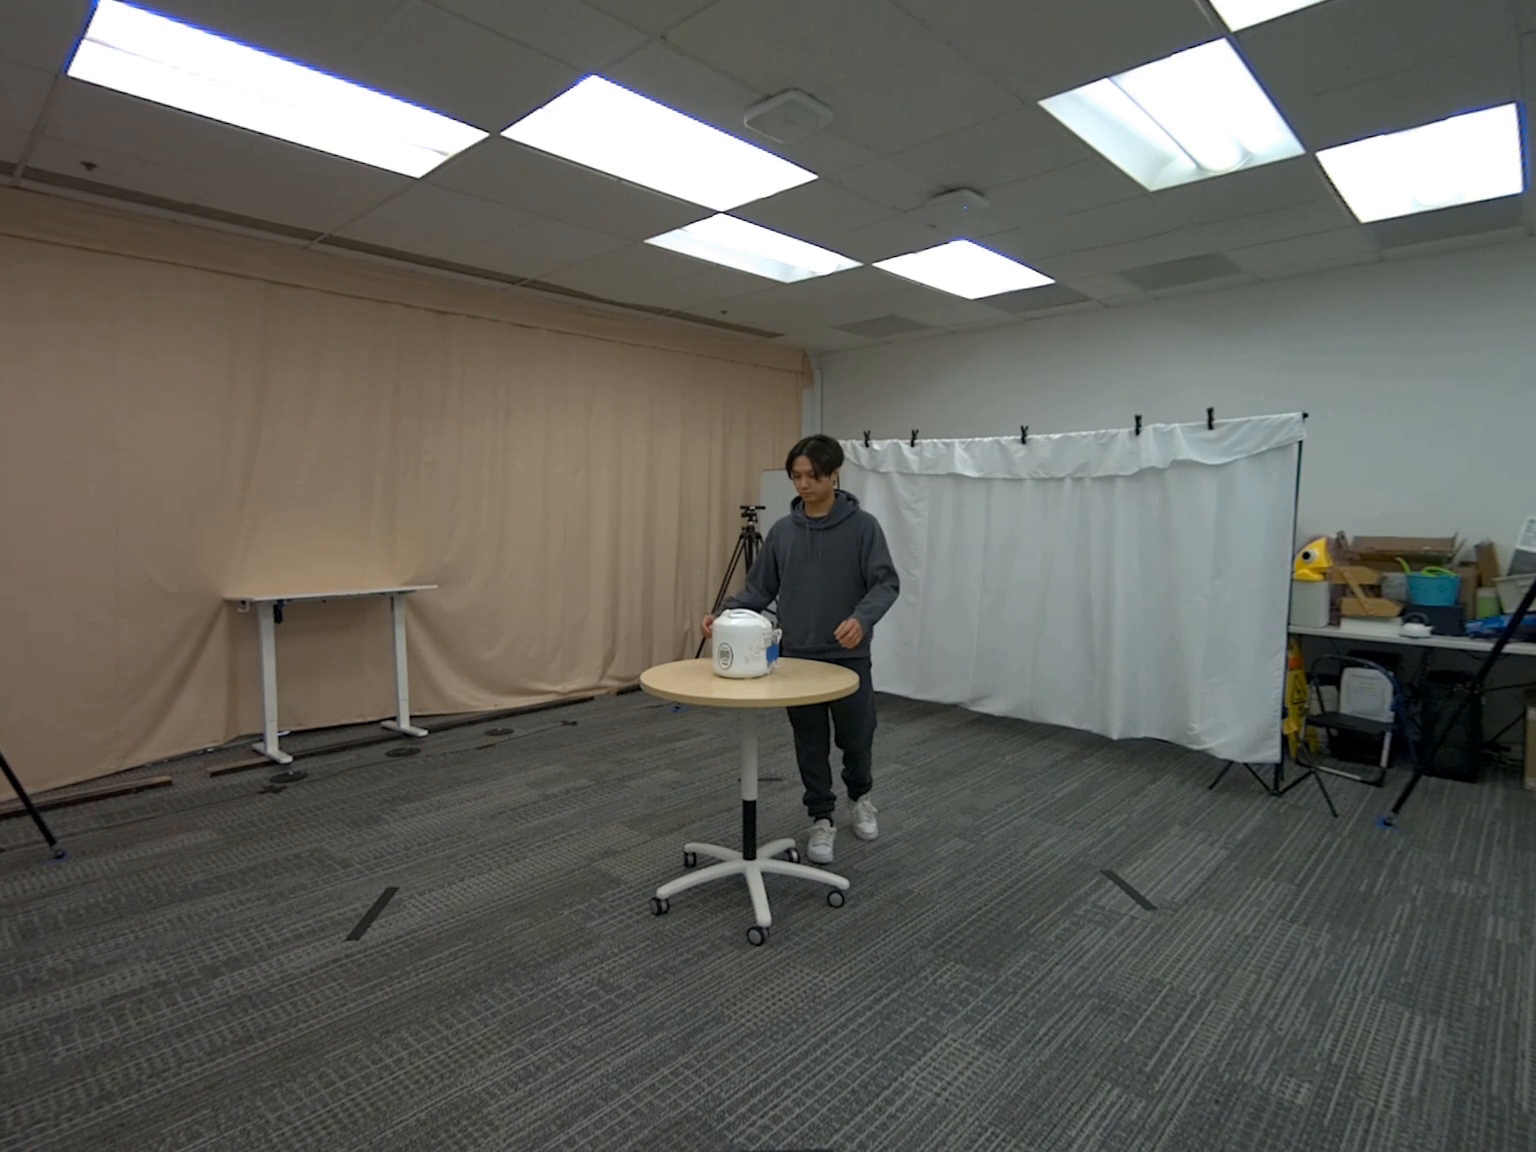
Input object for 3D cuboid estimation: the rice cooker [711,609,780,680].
[{"bbox_3d":[-0.088,0.234,2.963,0.227,0.232,0.211,1,2,32],"label":"rice cooker"}]
